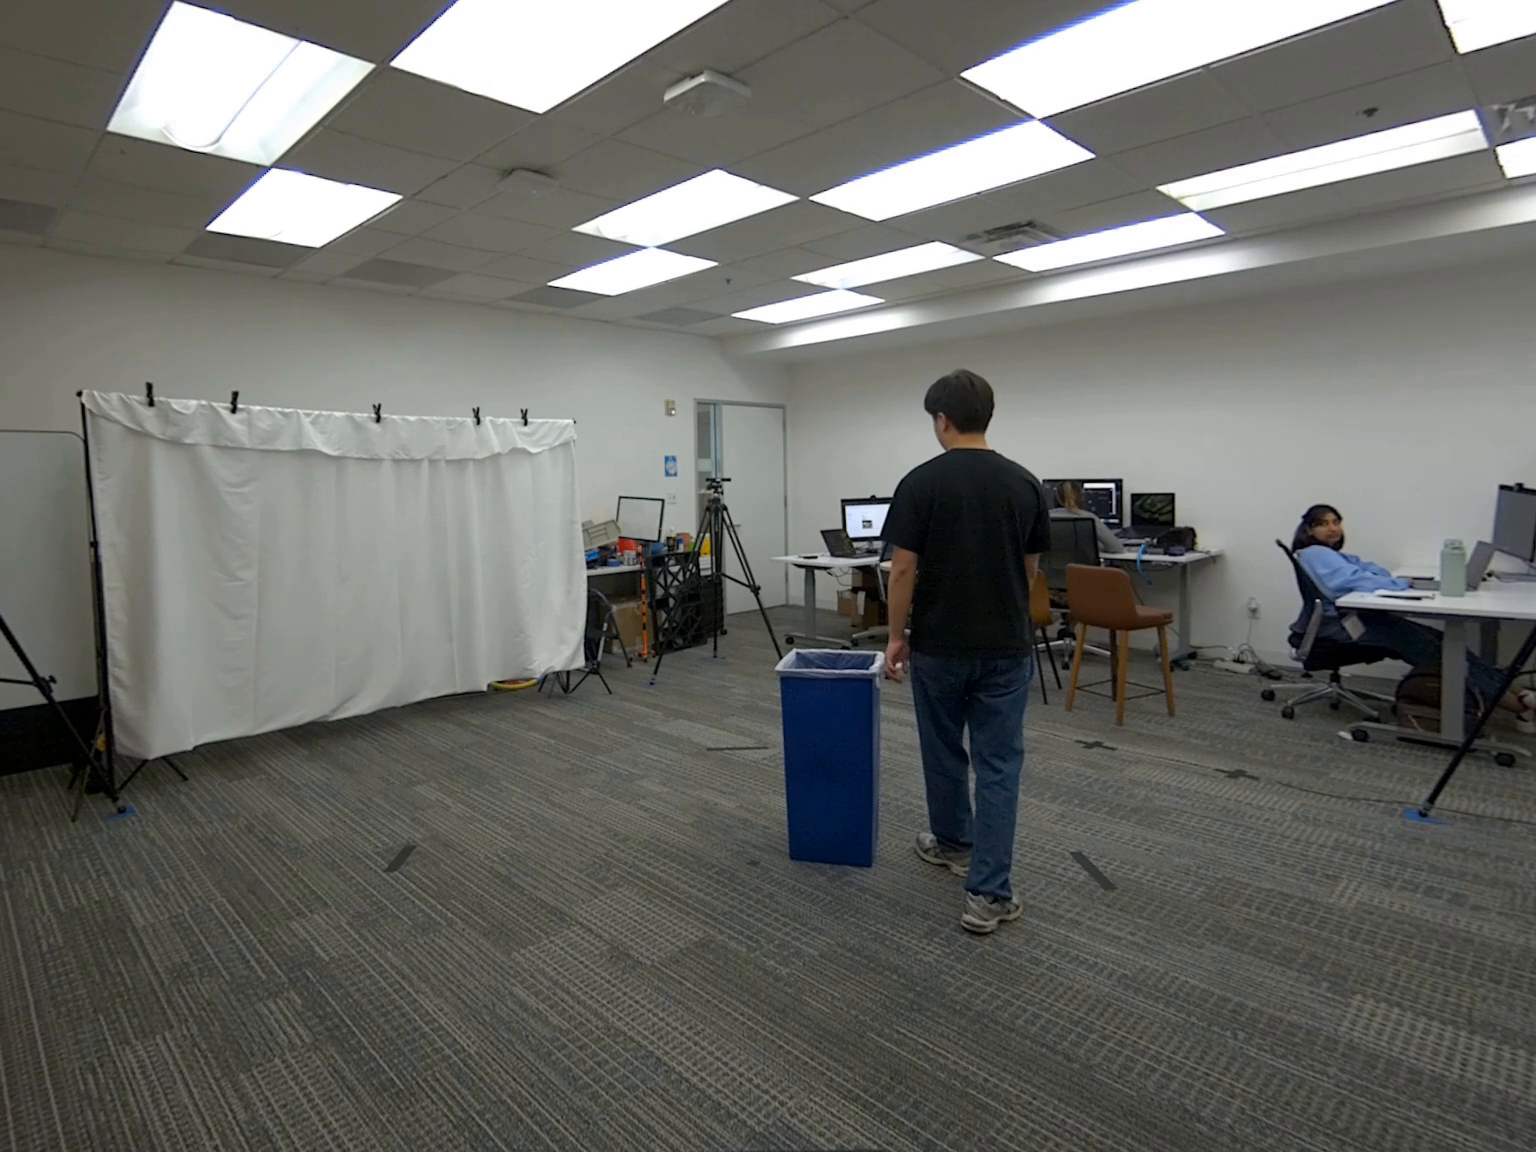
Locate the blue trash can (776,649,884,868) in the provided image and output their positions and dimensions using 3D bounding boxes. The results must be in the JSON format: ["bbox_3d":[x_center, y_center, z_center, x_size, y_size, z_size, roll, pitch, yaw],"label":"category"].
[{"bbox_3d":[0.254,0.666,3.215,0.379,0.711,0.374,-1,4,14],"label":"blue trash can"}]
